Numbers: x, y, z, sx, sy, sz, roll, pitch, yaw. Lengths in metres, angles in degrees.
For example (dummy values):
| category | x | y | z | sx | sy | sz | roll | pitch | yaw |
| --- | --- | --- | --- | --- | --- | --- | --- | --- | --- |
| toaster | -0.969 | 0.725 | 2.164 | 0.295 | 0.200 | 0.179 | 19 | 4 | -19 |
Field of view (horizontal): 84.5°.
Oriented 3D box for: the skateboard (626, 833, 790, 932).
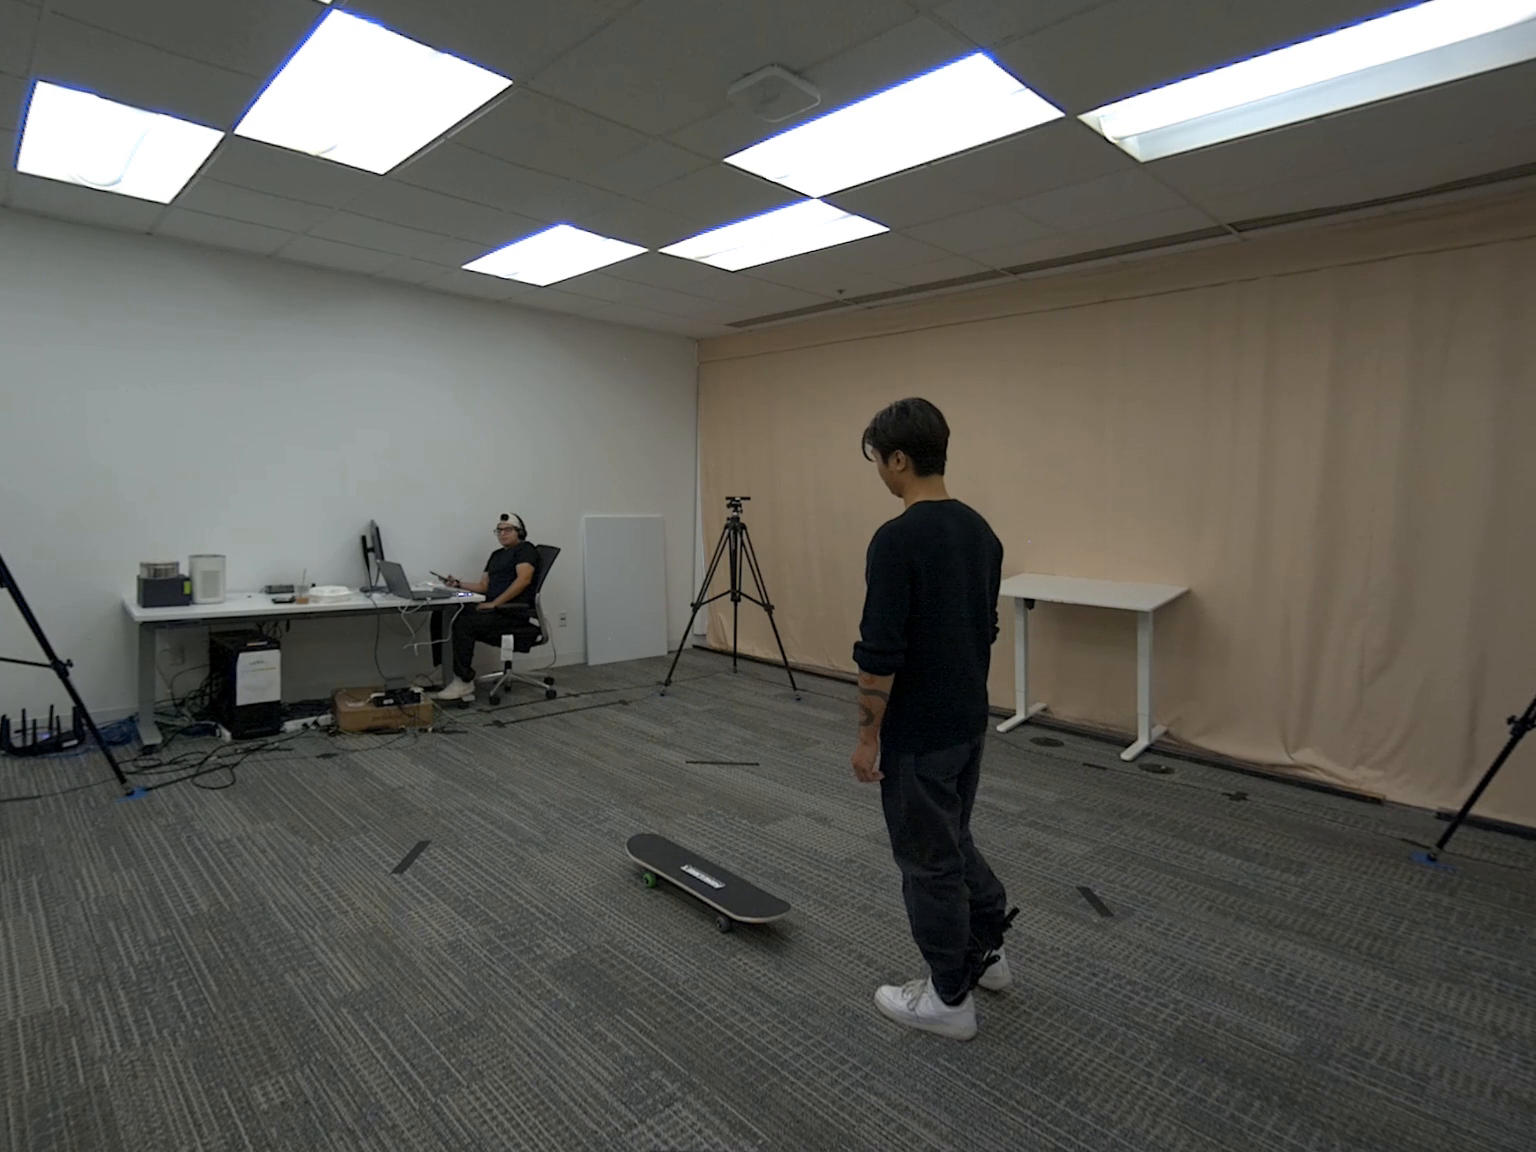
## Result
| category | x | y | z | sx | sy | sz | roll | pitch | yaw |
| --- | --- | --- | --- | --- | --- | --- | --- | --- | --- |
| skateboard | -0.235 | 1.068 | 2.900 | 0.189 | 0.110 | 0.806 | -2 | 6 | -42 |
